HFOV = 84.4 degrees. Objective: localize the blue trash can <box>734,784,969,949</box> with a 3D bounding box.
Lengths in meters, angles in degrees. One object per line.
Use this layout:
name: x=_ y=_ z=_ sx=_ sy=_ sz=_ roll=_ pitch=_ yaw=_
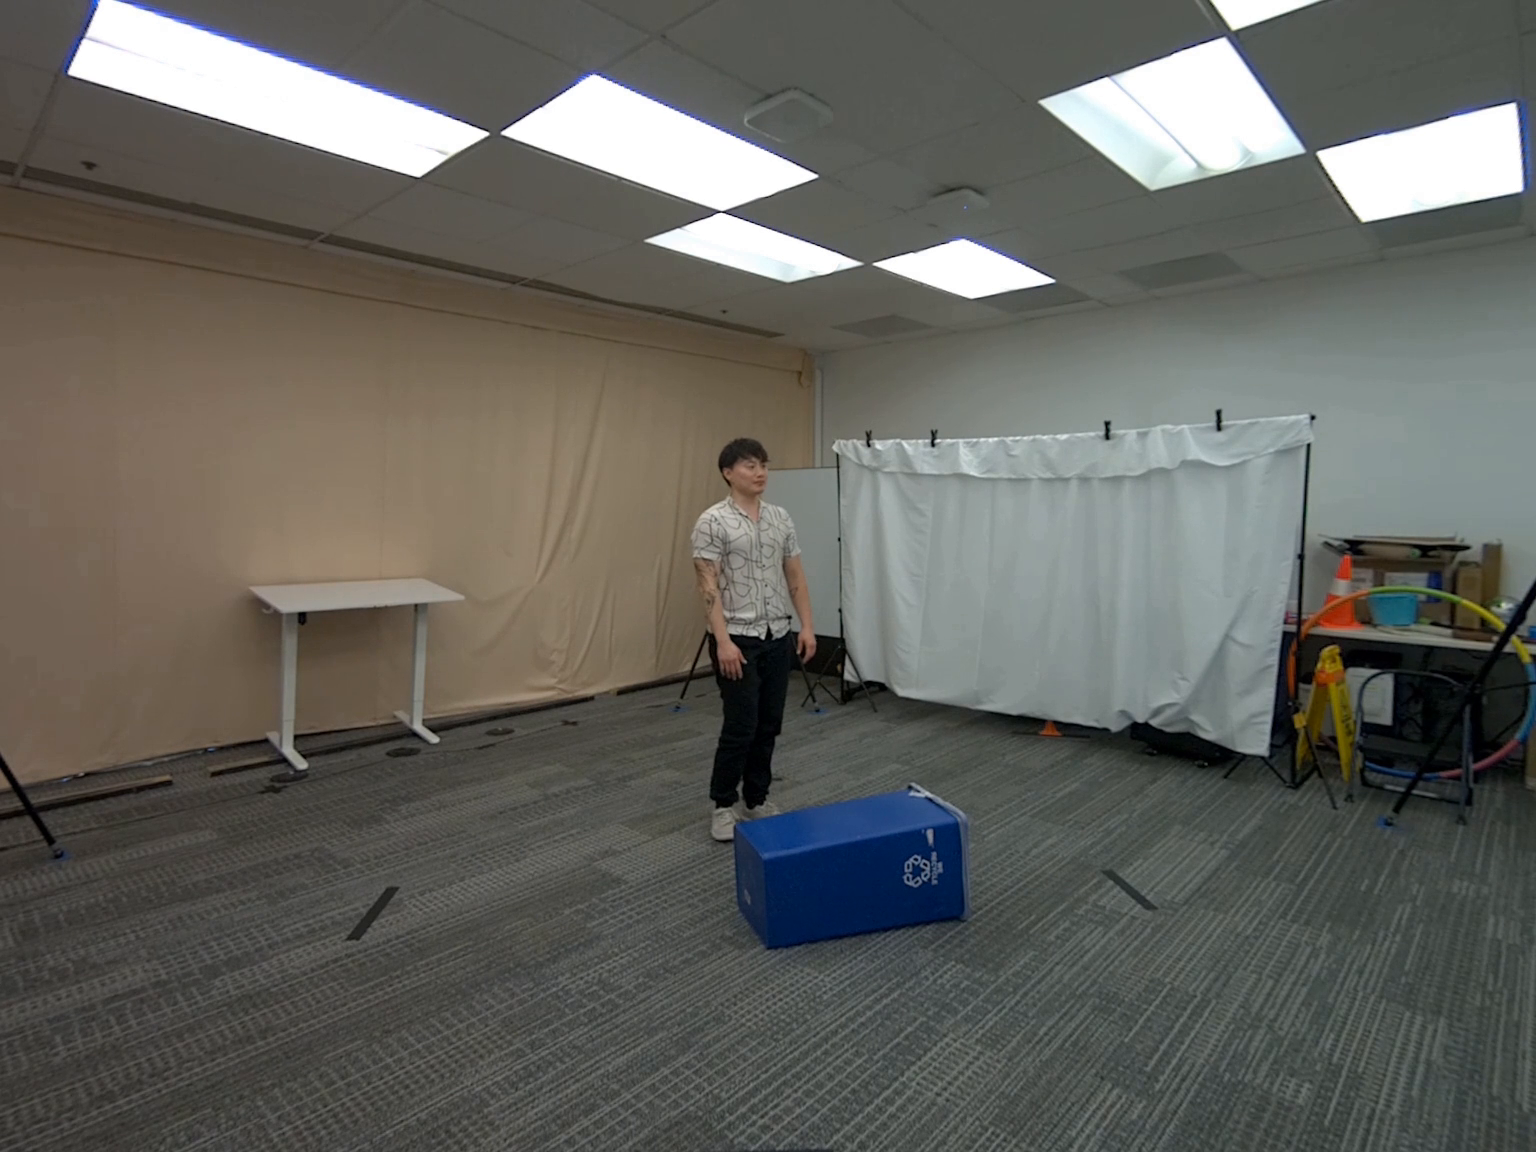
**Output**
blue trash can: x=0.276 y=0.982 z=2.872 sx=0.702 sy=0.373 sz=0.385 roll=-5 pitch=5 yaw=-17
